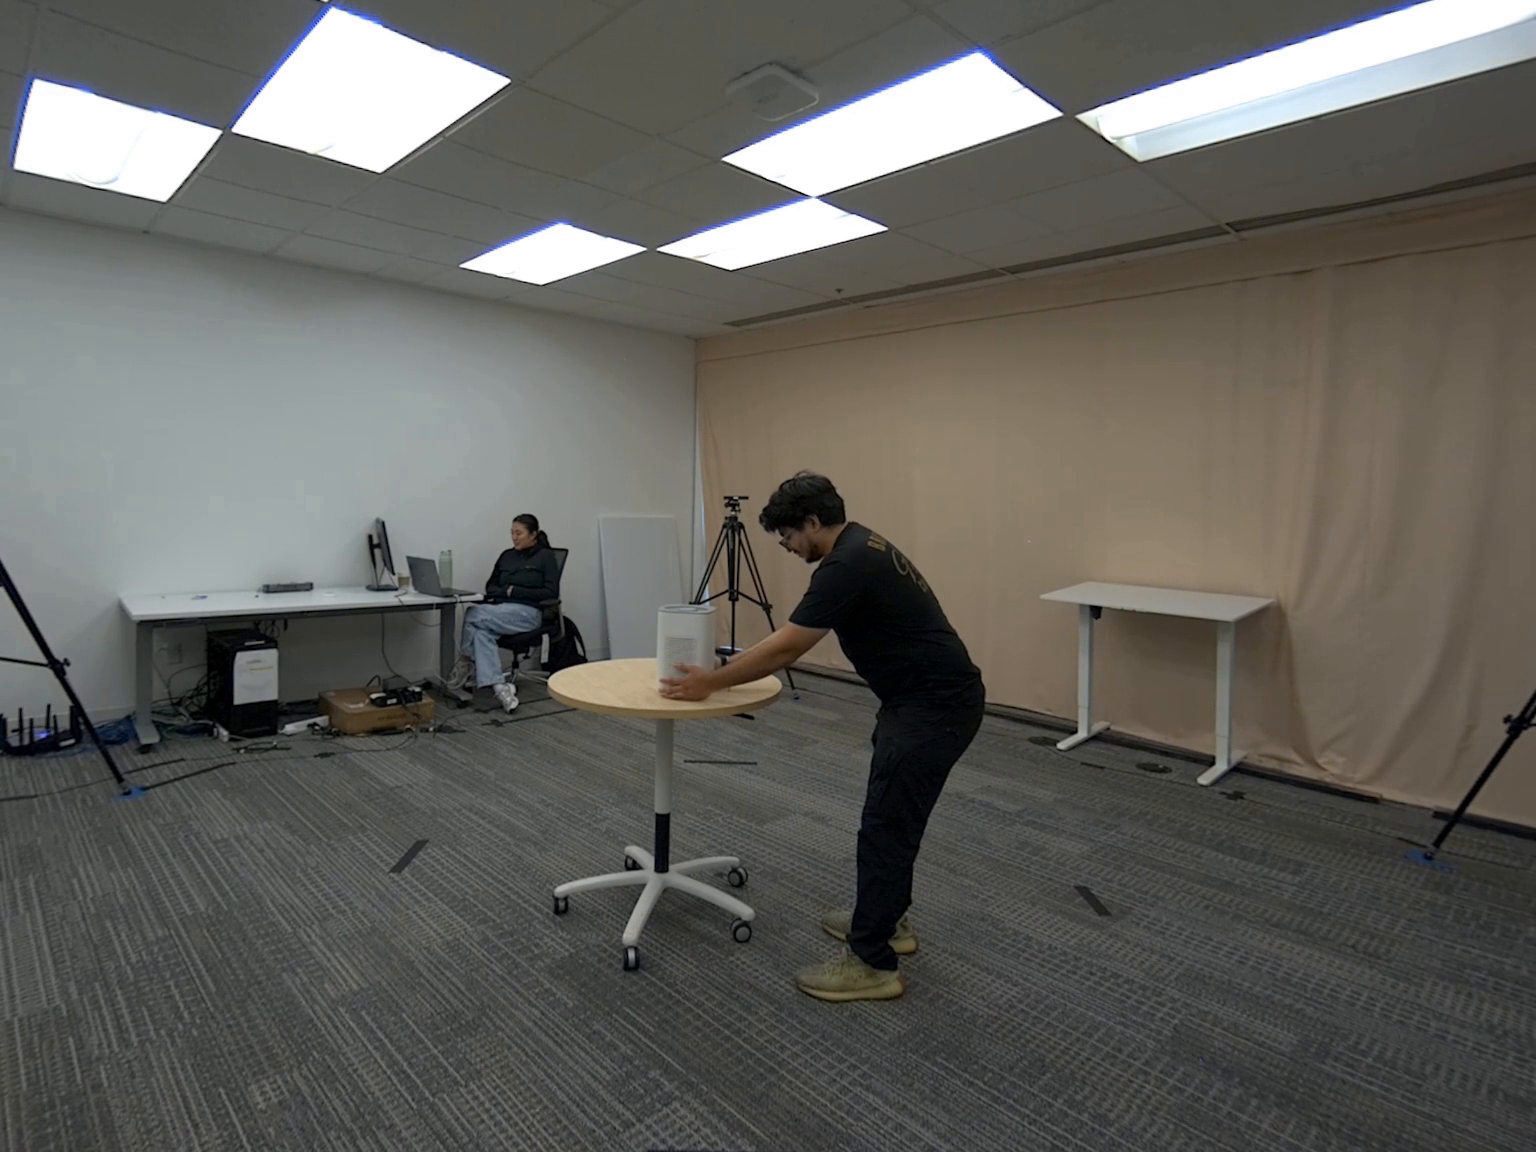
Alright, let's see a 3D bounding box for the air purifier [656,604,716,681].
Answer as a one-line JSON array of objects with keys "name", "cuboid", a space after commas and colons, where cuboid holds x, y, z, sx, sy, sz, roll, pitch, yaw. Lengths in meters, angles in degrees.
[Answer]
[{"name": "air purifier", "cuboid": [-0.251, 0.229, 2.608, 0.173, 0.264, 0.170, 2, 4, 8]}]
